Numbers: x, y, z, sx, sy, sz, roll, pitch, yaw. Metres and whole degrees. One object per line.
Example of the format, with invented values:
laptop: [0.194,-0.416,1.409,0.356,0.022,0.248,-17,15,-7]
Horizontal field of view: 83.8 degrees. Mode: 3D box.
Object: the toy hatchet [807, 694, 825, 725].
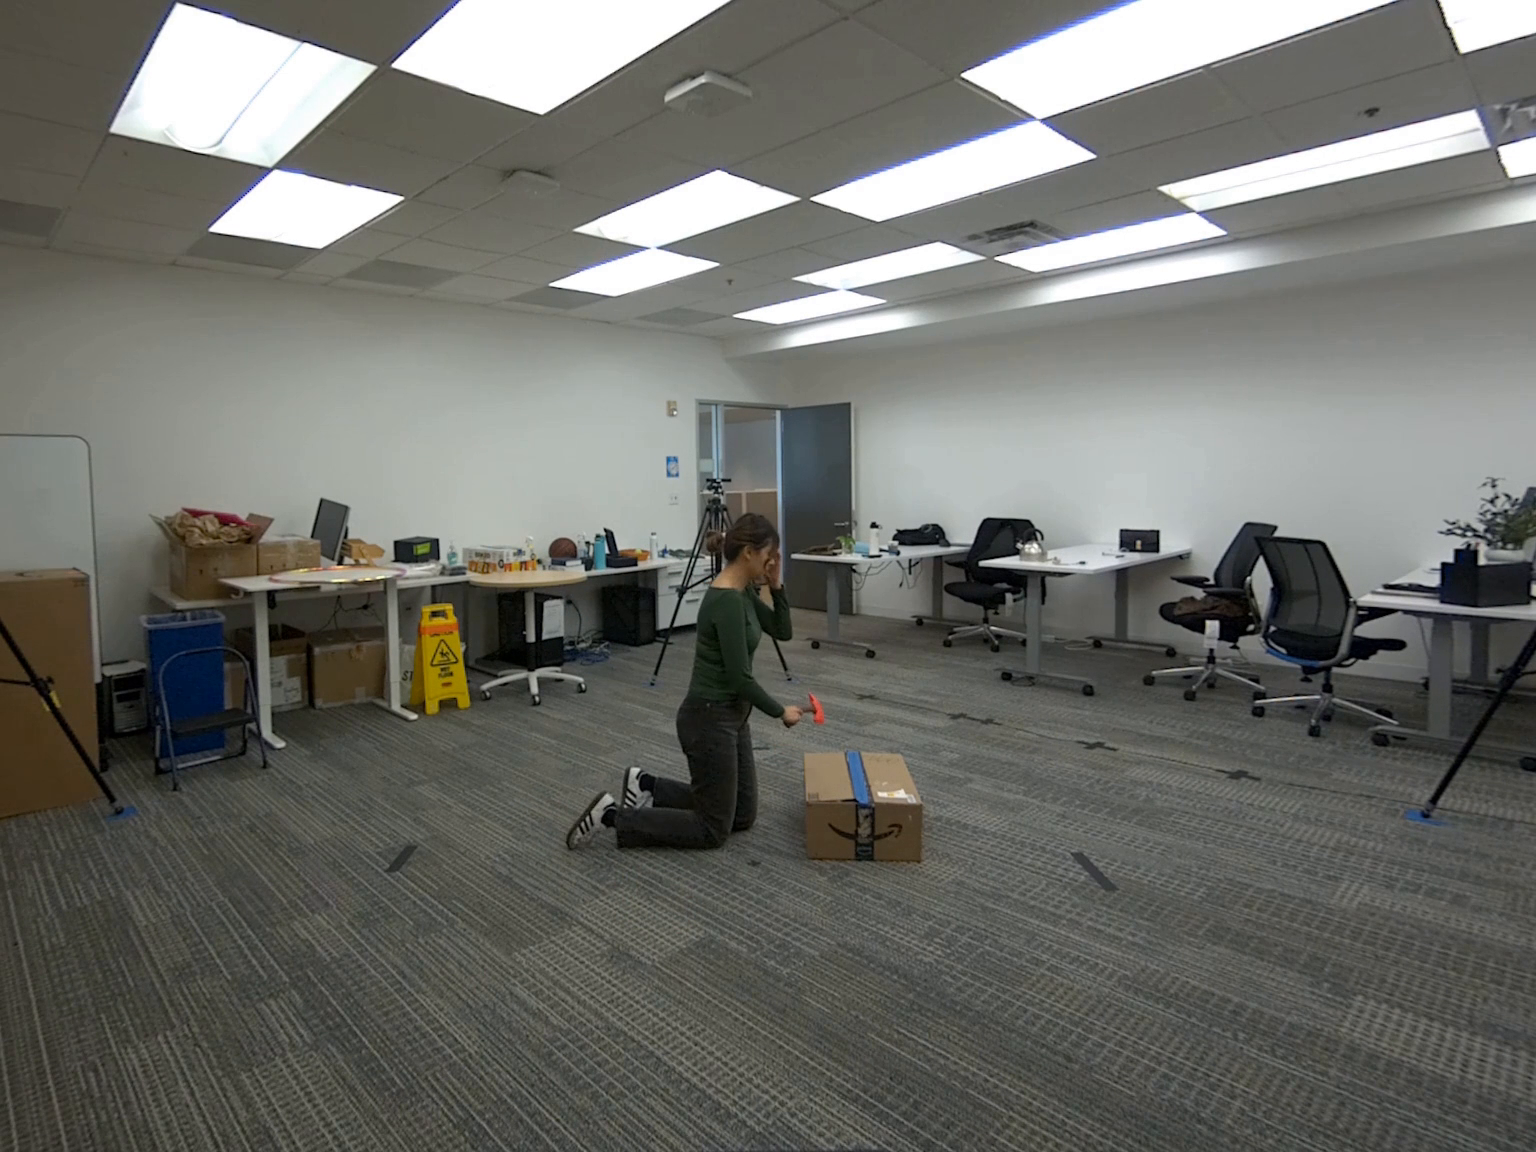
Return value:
toy hatchet: [0.139,0.568,3.422,0.030,0.132,0.266,-40,-9,37]
